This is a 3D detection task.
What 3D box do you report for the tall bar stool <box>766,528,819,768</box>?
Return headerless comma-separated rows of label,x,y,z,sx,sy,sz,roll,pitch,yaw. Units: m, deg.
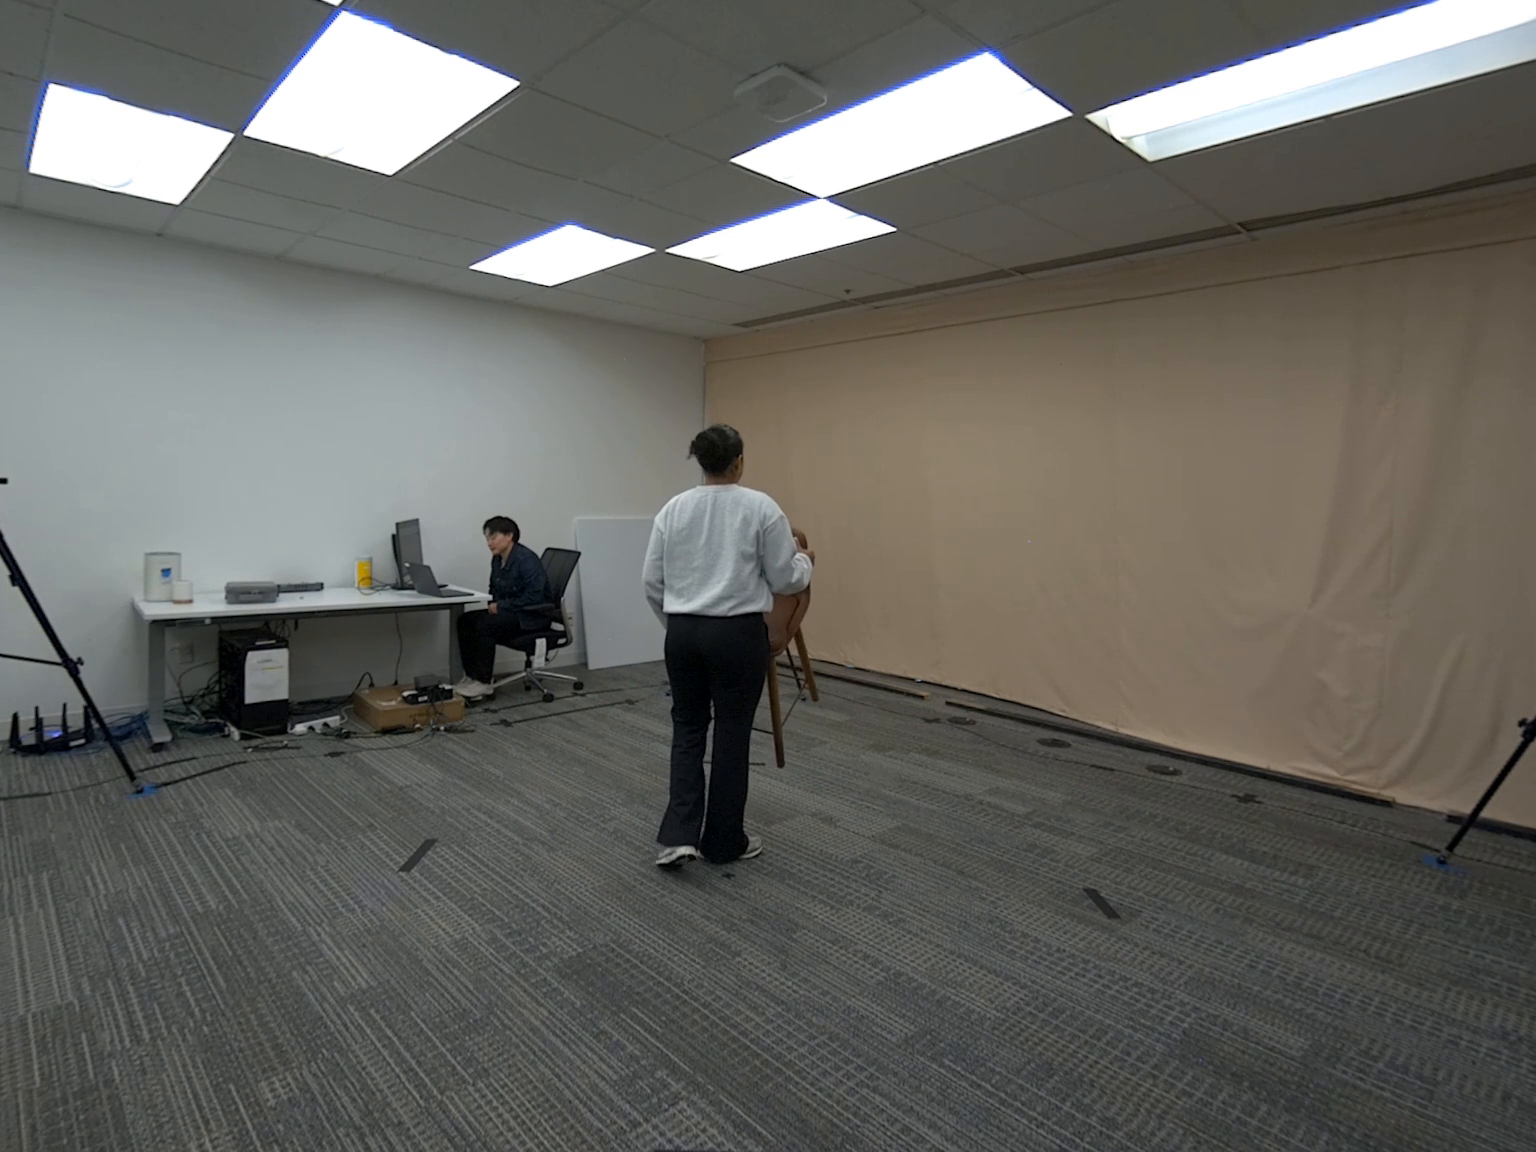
tall bar stool,-0.071,0.280,3.492,0.466,0.872,0.467,9,31,26
